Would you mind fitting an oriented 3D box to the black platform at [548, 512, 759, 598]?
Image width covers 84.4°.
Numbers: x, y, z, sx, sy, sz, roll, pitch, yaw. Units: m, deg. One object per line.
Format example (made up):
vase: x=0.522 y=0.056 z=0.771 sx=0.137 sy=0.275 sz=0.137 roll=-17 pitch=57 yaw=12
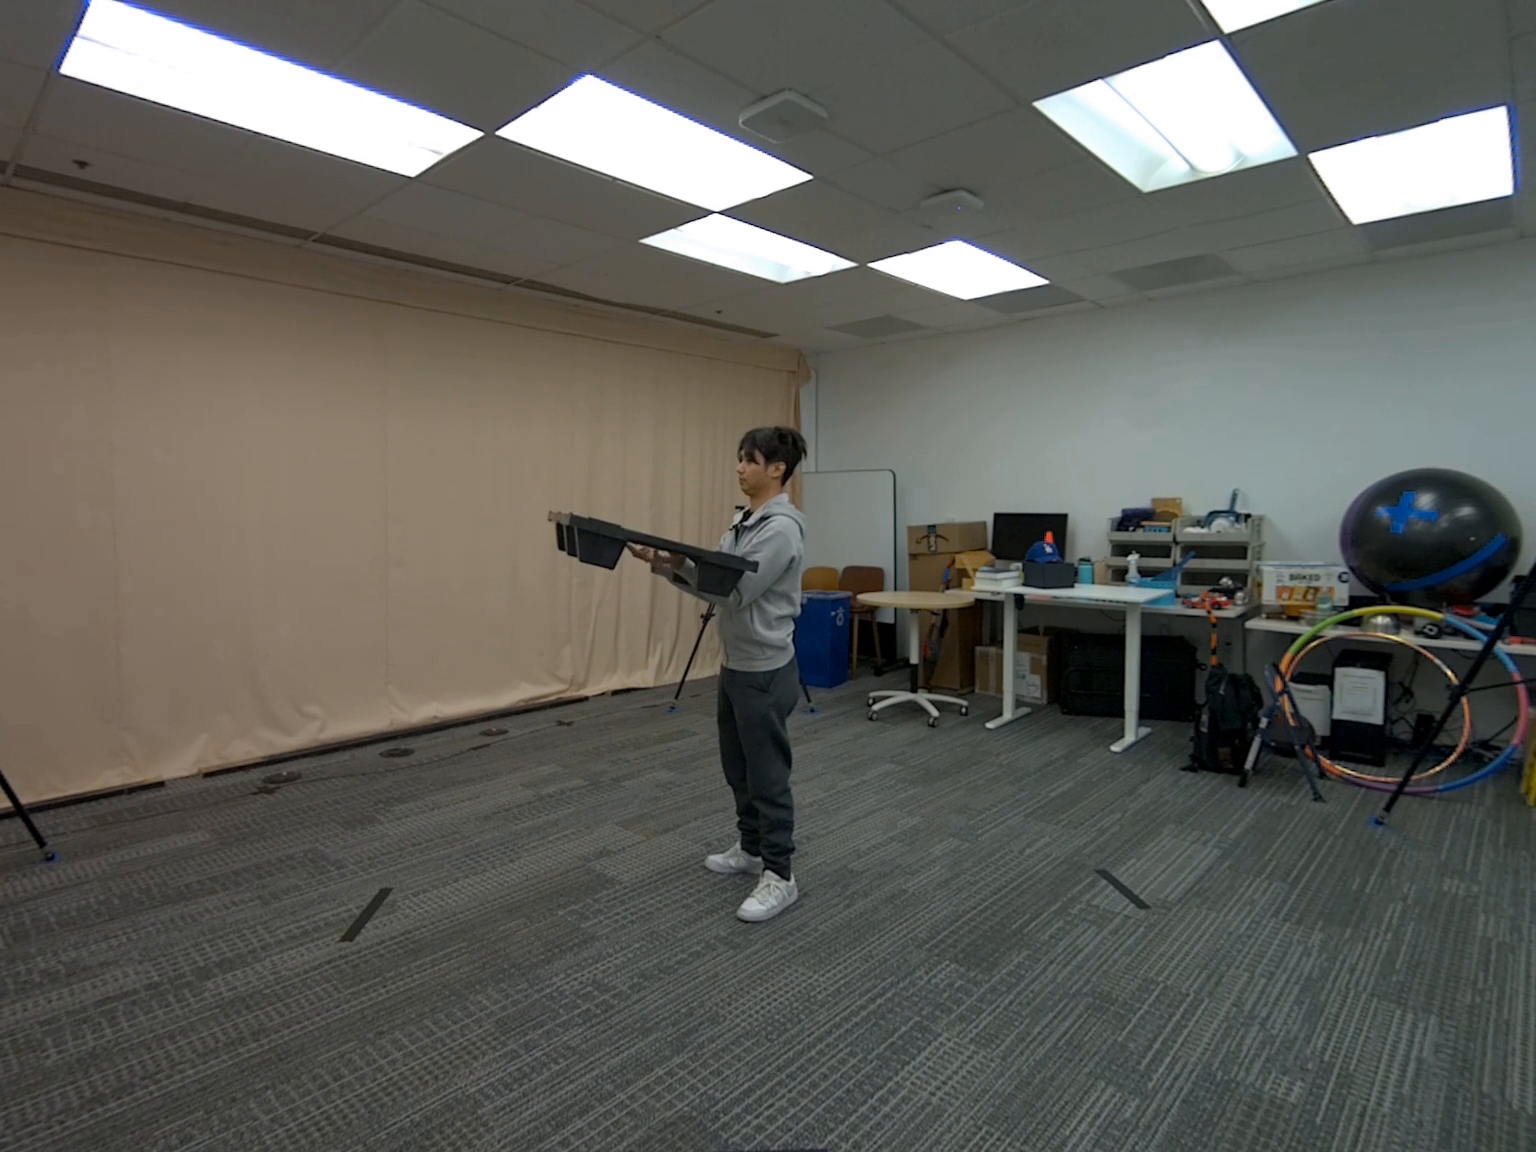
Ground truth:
black platform: x=-0.445 y=-0.079 z=2.878 sx=0.593 sy=0.143 sz=0.822 roll=14 pitch=0 yaw=-18
